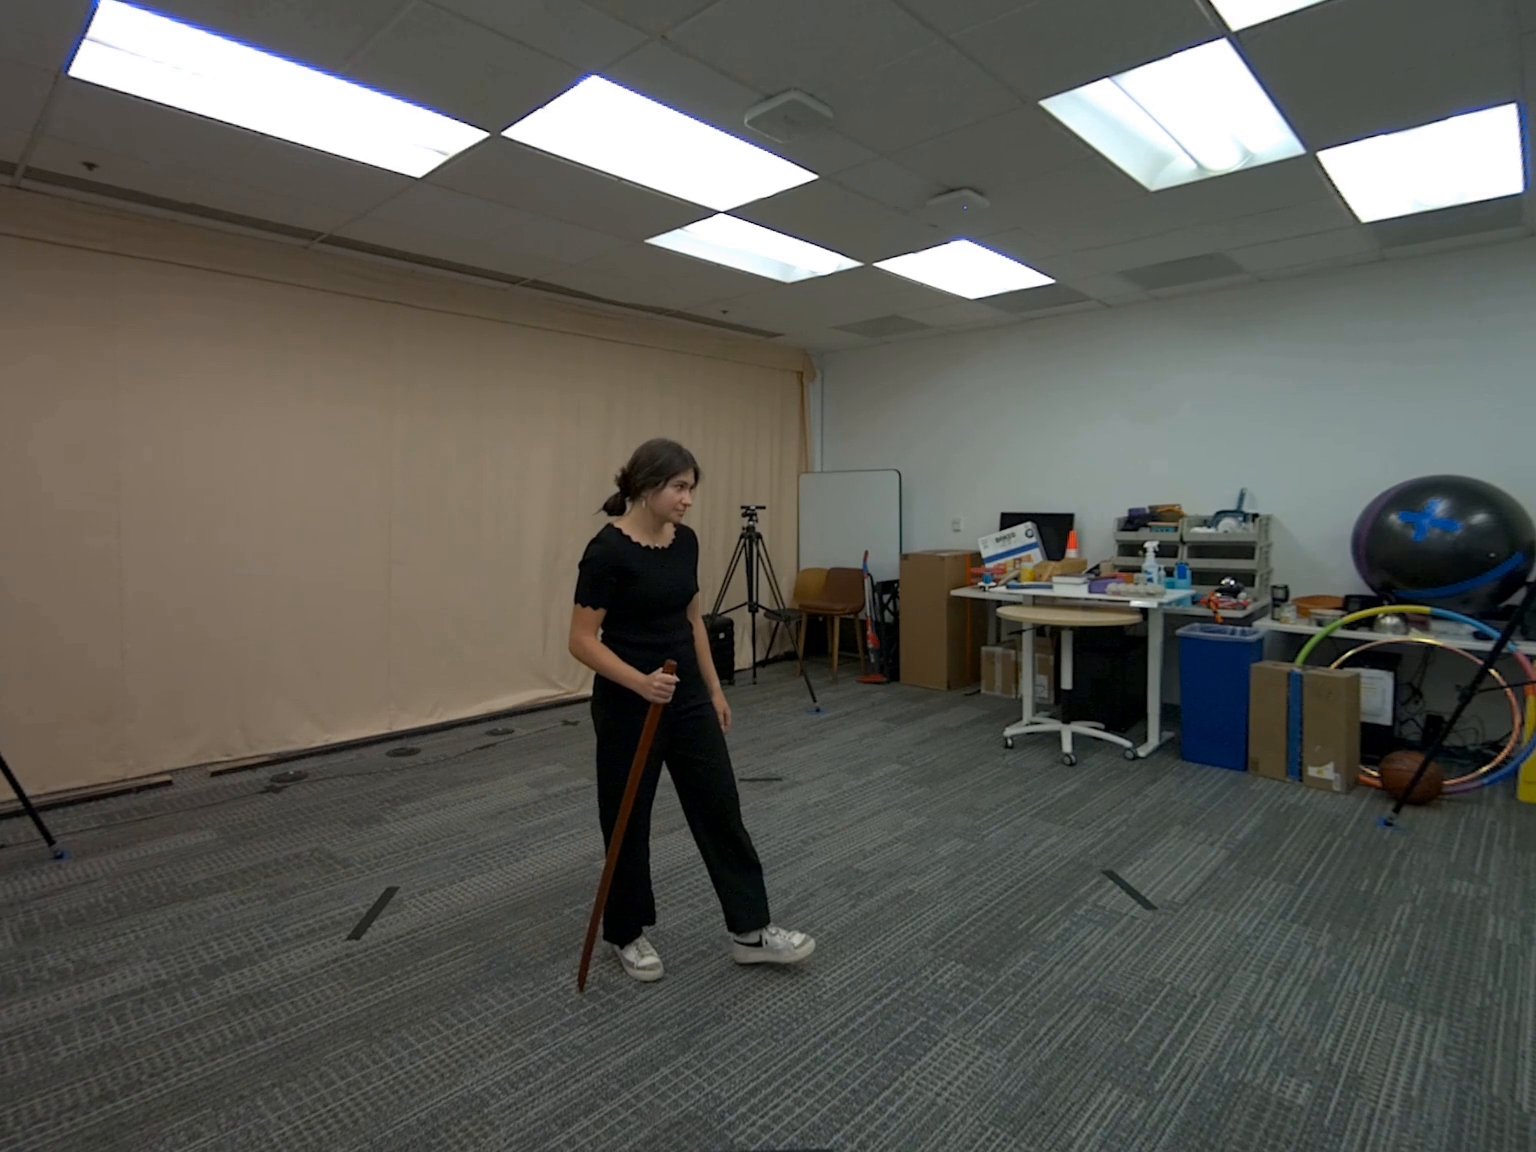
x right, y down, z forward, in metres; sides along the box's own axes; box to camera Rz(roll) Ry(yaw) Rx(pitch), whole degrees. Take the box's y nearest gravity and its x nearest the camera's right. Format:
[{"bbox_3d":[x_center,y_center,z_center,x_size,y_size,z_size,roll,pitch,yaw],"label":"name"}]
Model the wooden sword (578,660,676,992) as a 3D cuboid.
[{"bbox_3d":[-0.411,0.720,2.336,0.024,1.021,0.052,14,11,-16],"label":"wooden sword"}]
